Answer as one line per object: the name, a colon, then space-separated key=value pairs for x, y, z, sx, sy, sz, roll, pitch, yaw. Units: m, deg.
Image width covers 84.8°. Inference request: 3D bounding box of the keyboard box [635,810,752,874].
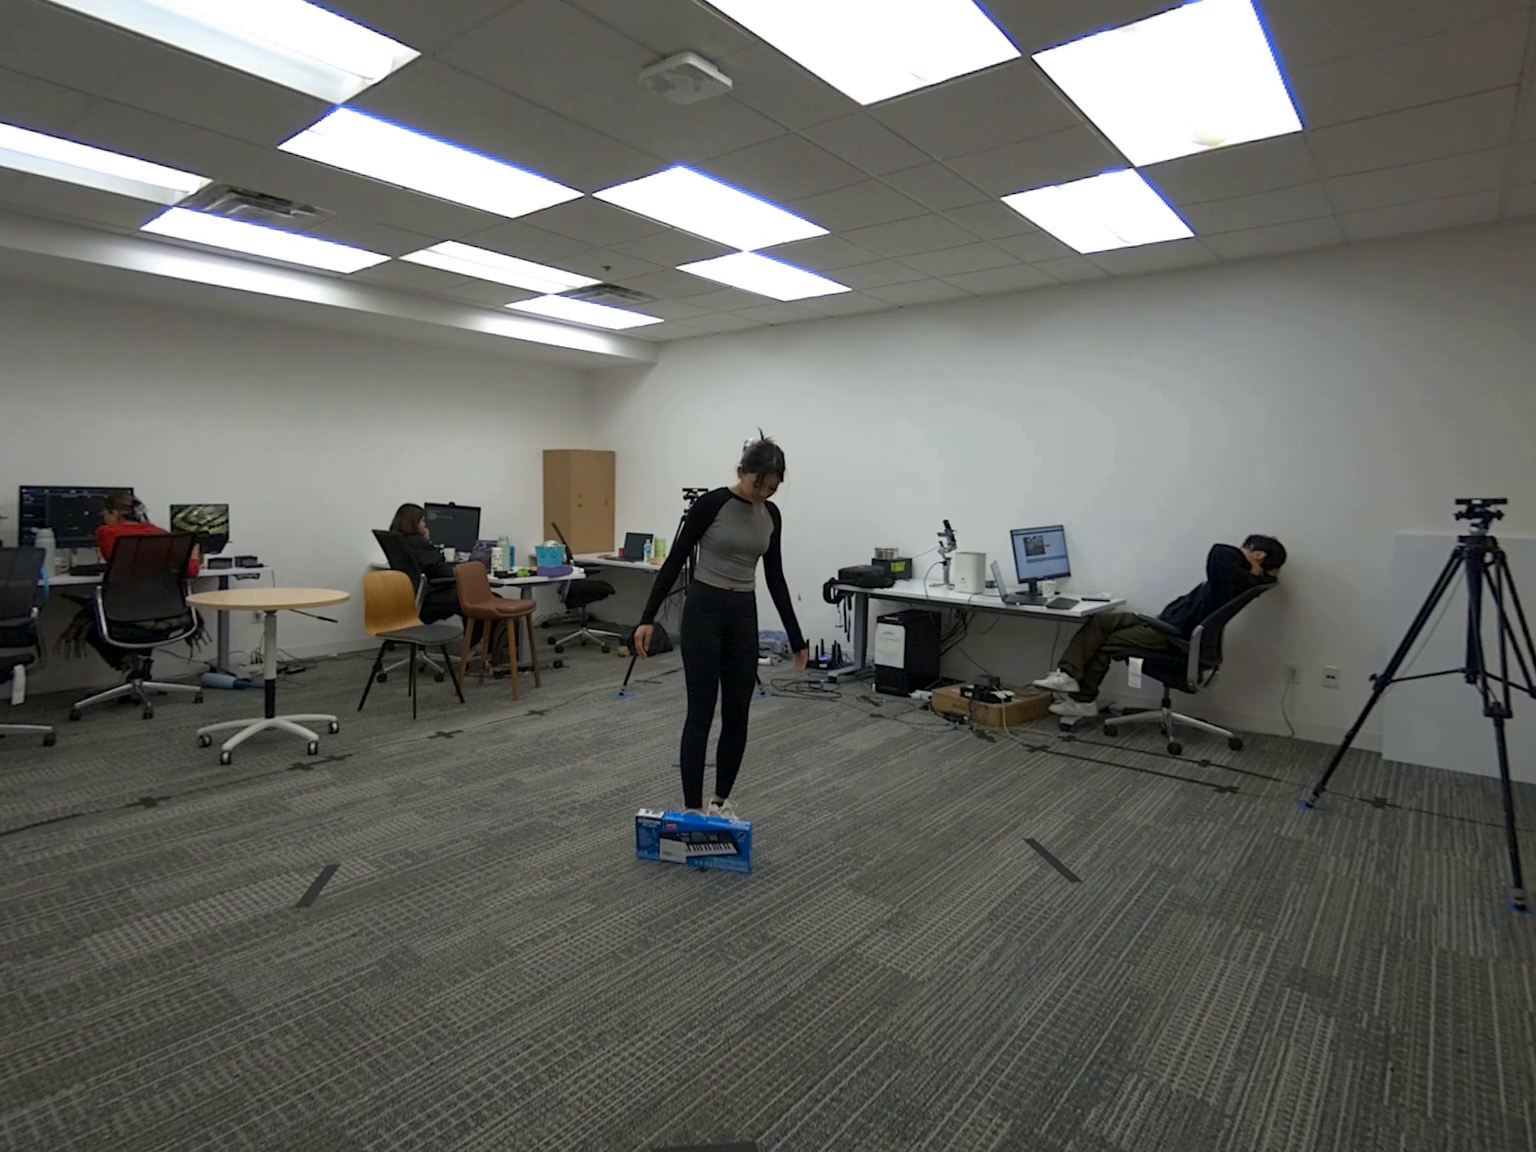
keyboard box: x=-0.287 y=0.975 z=3.148 sx=0.444 sy=0.174 sz=0.059 roll=2 pitch=10 yaw=16
